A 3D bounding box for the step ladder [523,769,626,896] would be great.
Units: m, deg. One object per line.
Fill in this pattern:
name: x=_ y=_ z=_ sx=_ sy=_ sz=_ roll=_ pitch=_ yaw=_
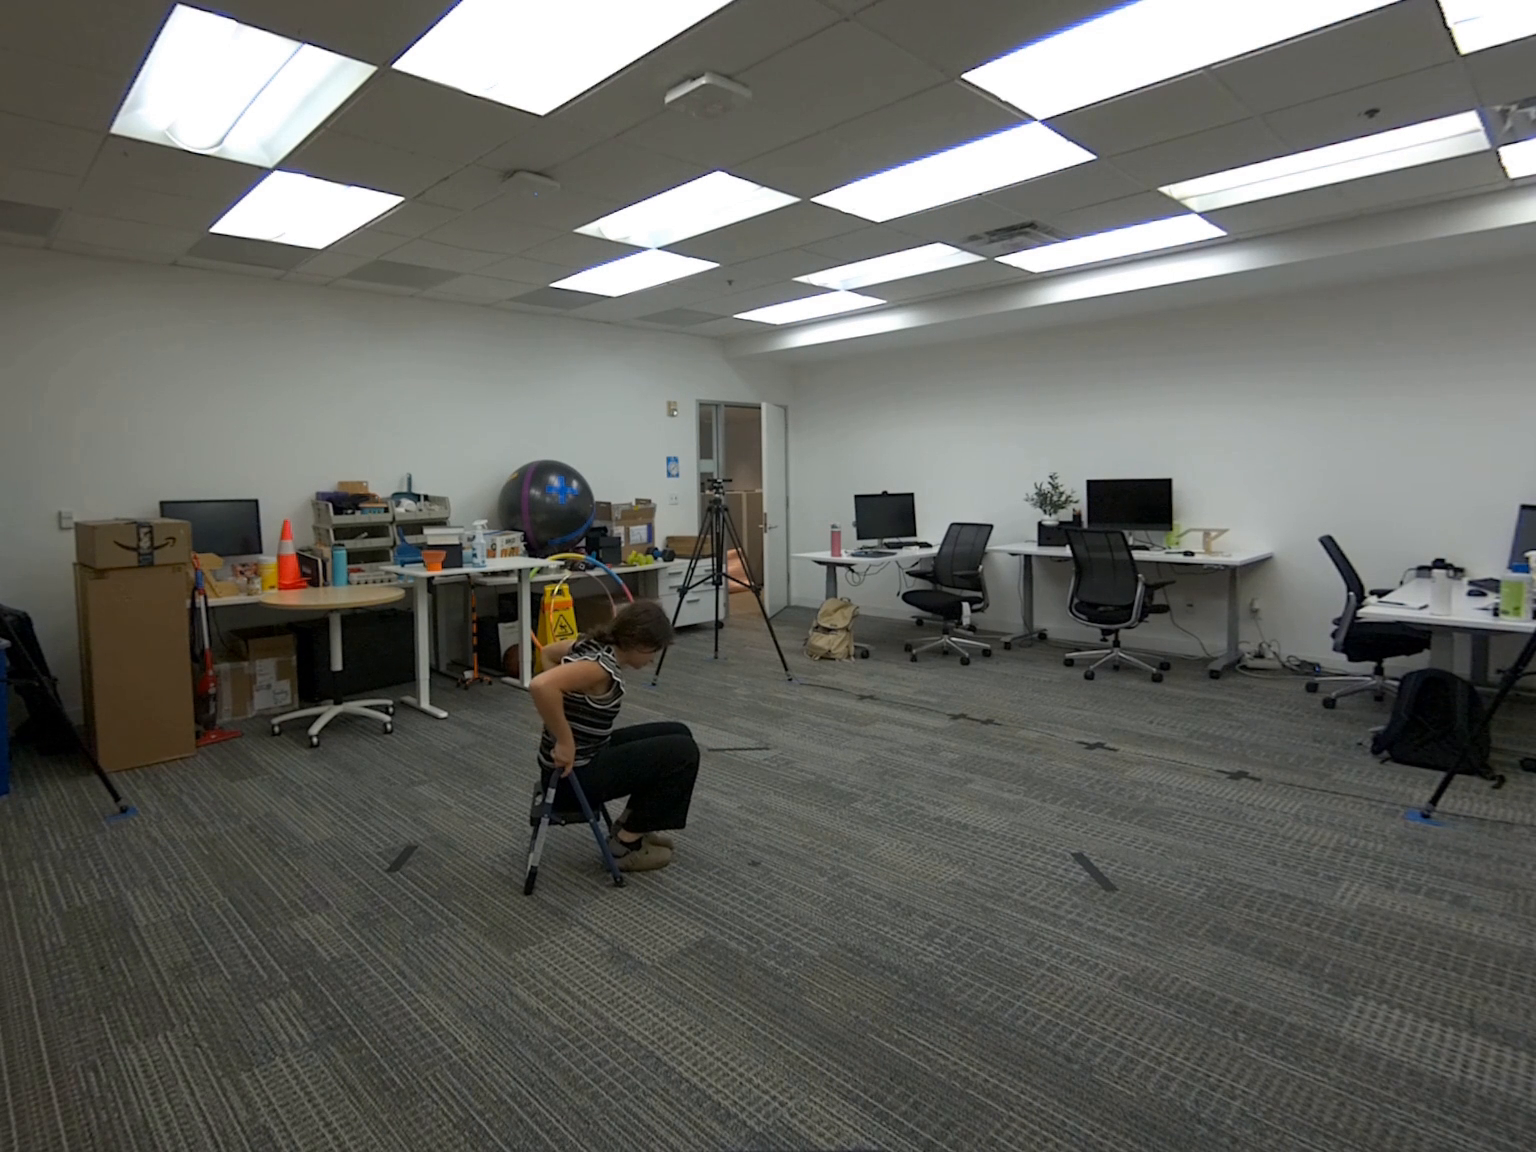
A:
step ladder: x=-0.708 y=0.763 z=3.106 sx=0.345 sy=0.604 sz=0.437 roll=-1 pitch=4 yaw=-12
